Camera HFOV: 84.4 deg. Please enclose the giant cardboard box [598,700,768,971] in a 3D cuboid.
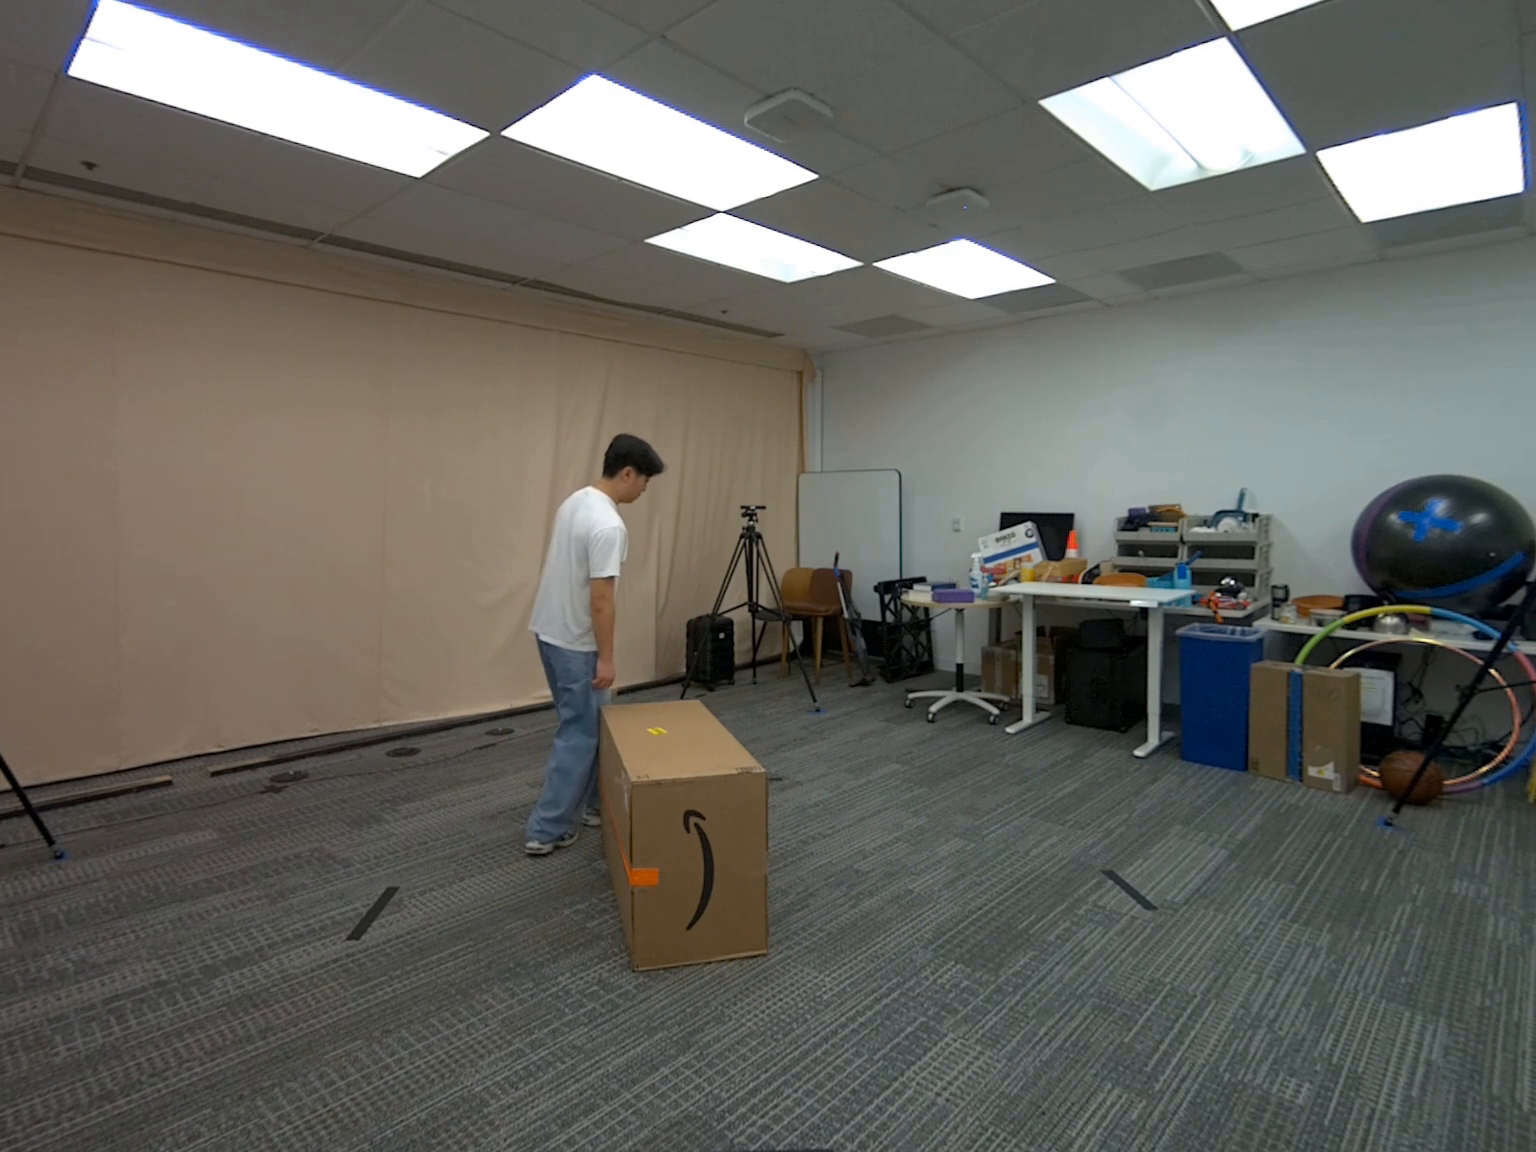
[{"bbox_3d":[-0.345,0.851,3.037,0.420,0.576,1.043,-1,4,-16],"label":"giant cardboard box"}]
